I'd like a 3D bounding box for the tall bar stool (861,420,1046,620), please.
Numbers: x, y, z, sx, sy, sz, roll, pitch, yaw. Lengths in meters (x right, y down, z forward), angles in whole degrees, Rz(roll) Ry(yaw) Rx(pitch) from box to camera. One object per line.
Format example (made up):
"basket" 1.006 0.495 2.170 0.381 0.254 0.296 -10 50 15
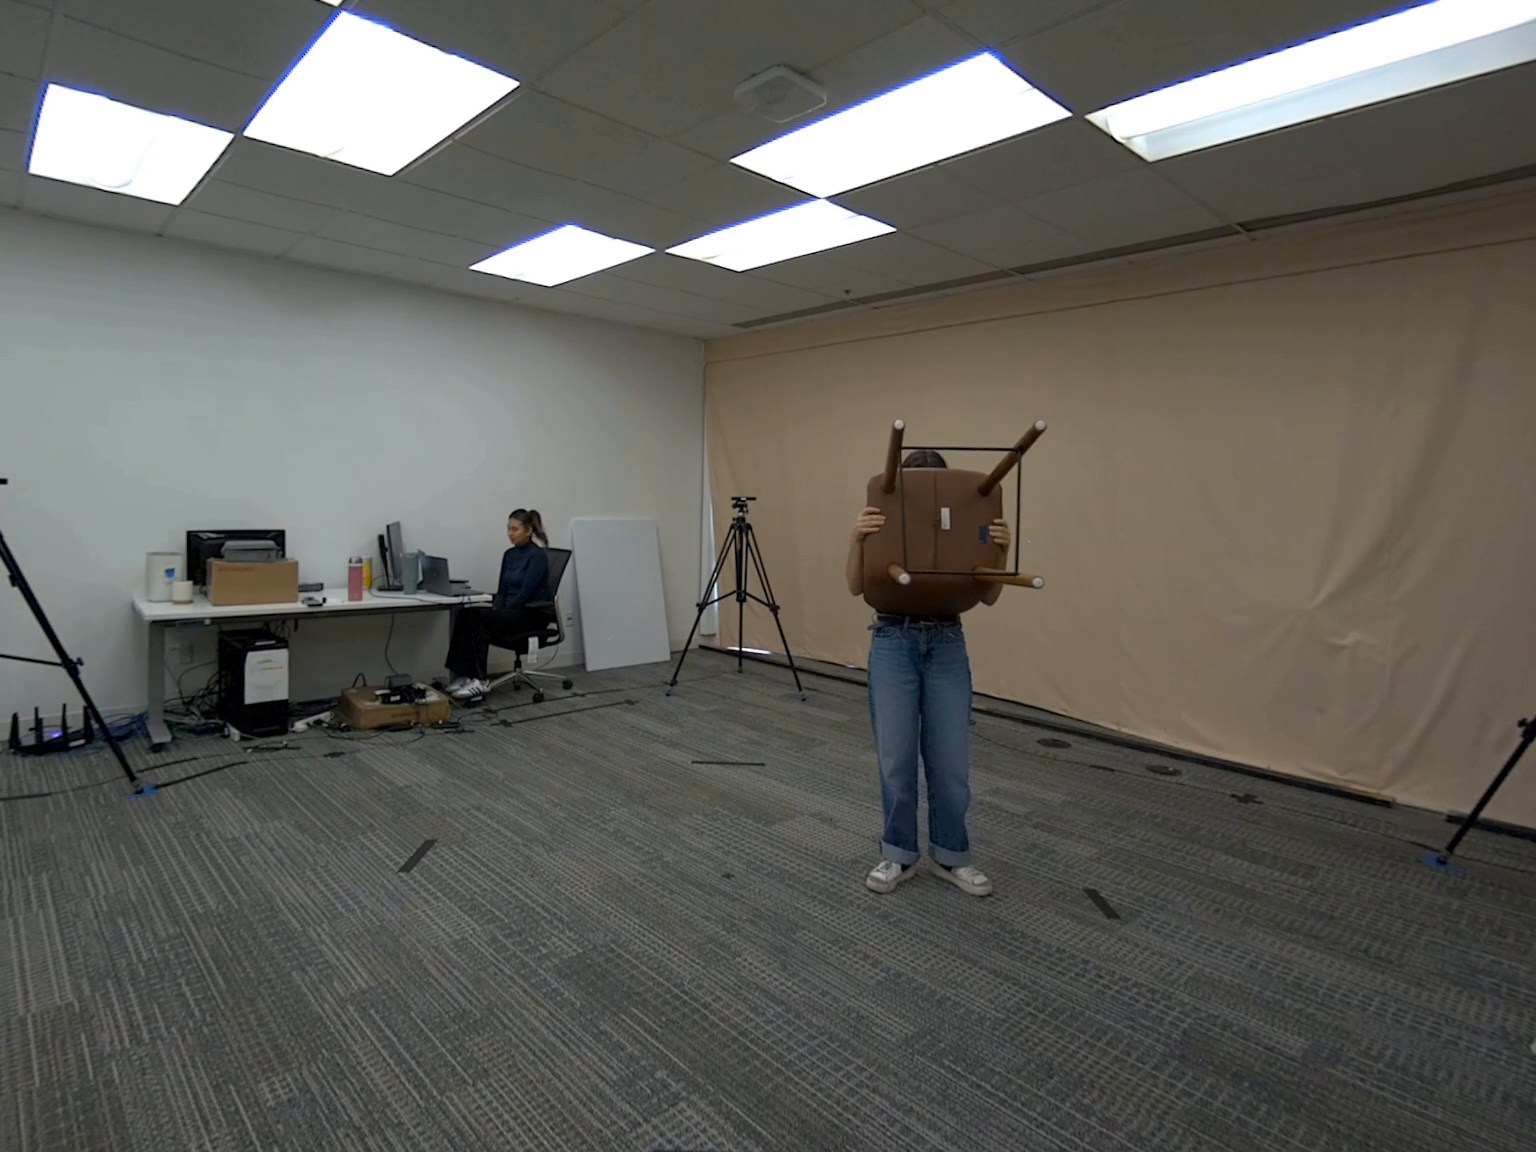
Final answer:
"tall bar stool" 0.548 -0.146 2.669 0.457 0.471 0.882 0 -9 1
